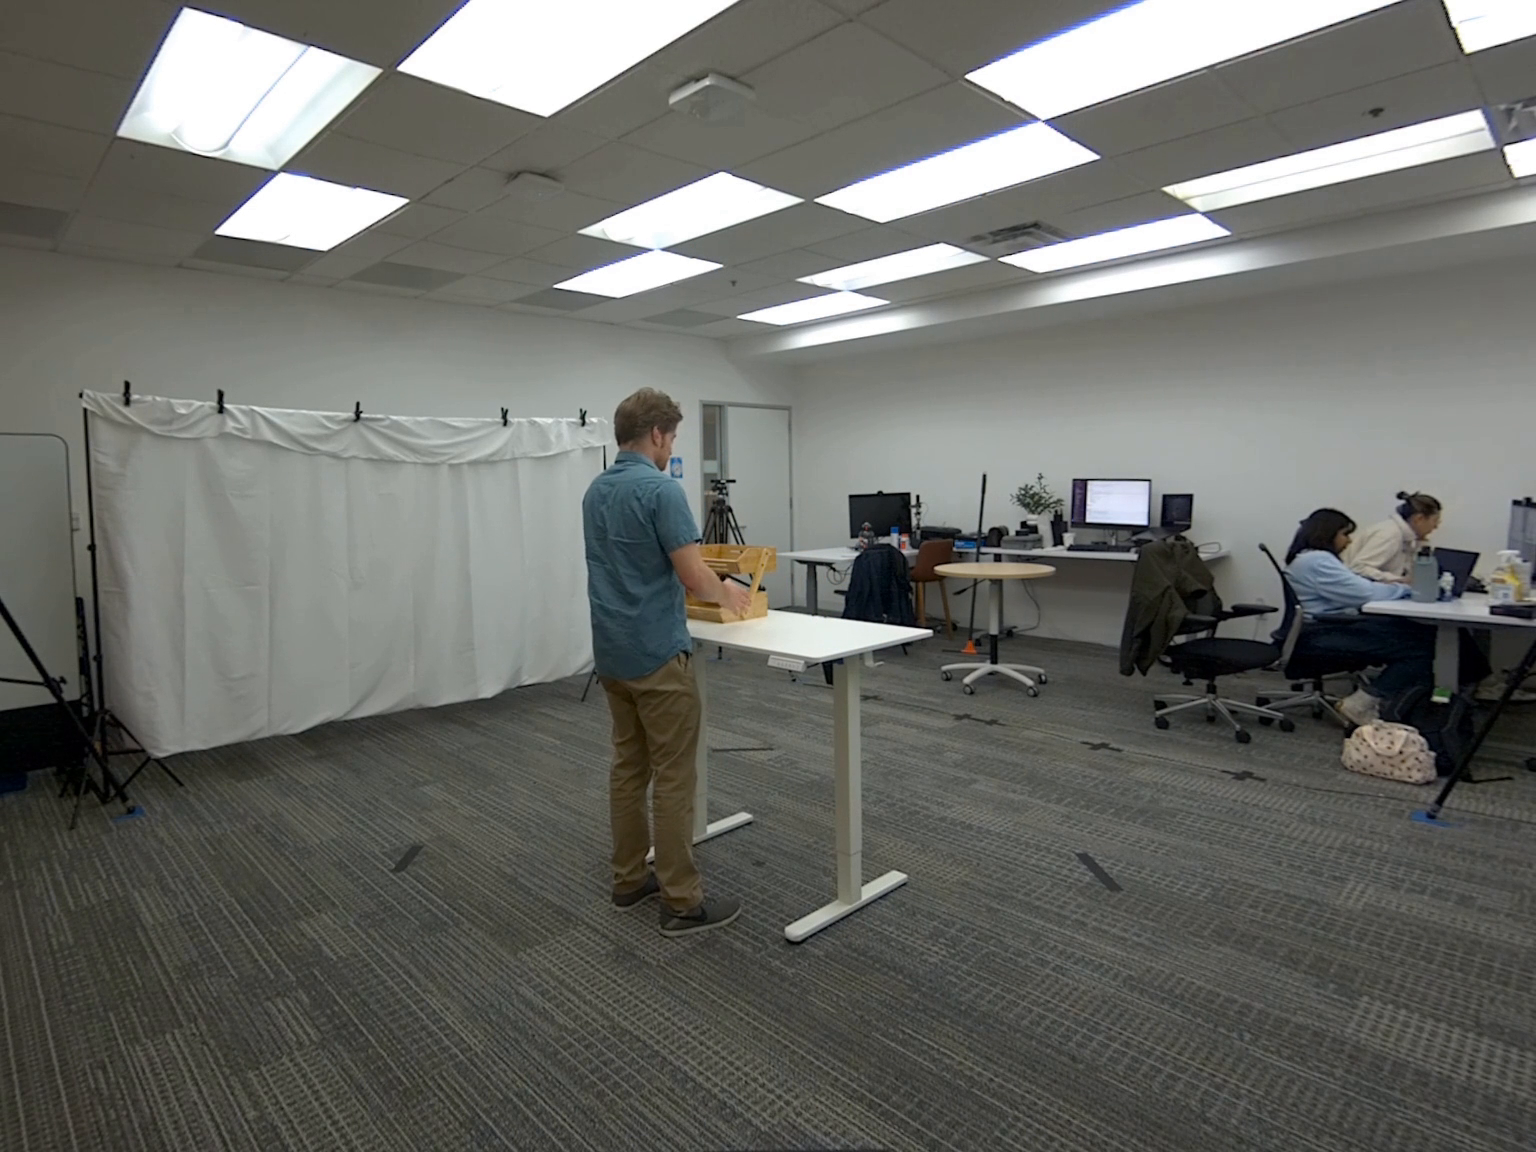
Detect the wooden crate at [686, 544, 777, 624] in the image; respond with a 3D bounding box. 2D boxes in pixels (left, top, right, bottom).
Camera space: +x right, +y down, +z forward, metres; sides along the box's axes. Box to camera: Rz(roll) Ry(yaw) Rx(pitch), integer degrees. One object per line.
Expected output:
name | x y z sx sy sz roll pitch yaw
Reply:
wooden crate | -0.179 0.017 3.260 0.334 0.272 0.294 5 6 44
